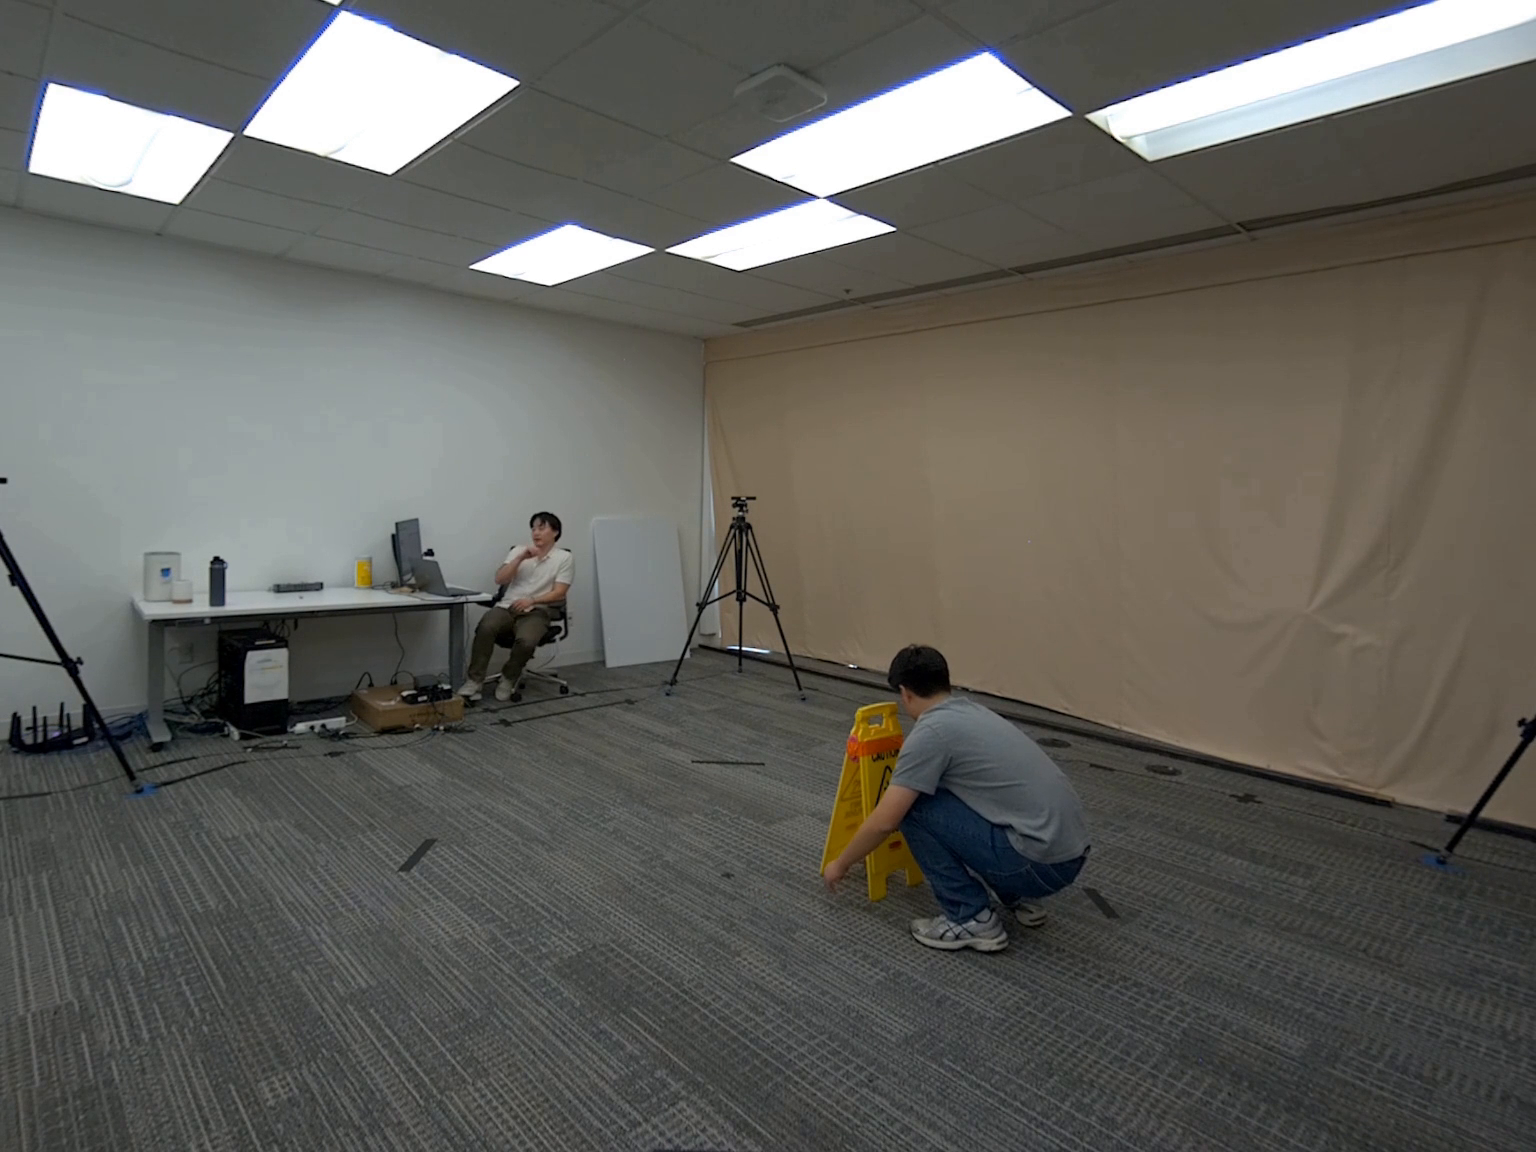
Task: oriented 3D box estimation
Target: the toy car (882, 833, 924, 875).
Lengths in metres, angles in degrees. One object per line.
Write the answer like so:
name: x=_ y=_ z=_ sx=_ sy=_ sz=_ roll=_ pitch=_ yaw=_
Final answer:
toy car: x=0.577 y=1.076 z=3.264 sx=0.258 sy=0.083 sz=0.129 roll=9 pitch=5 yaw=13
